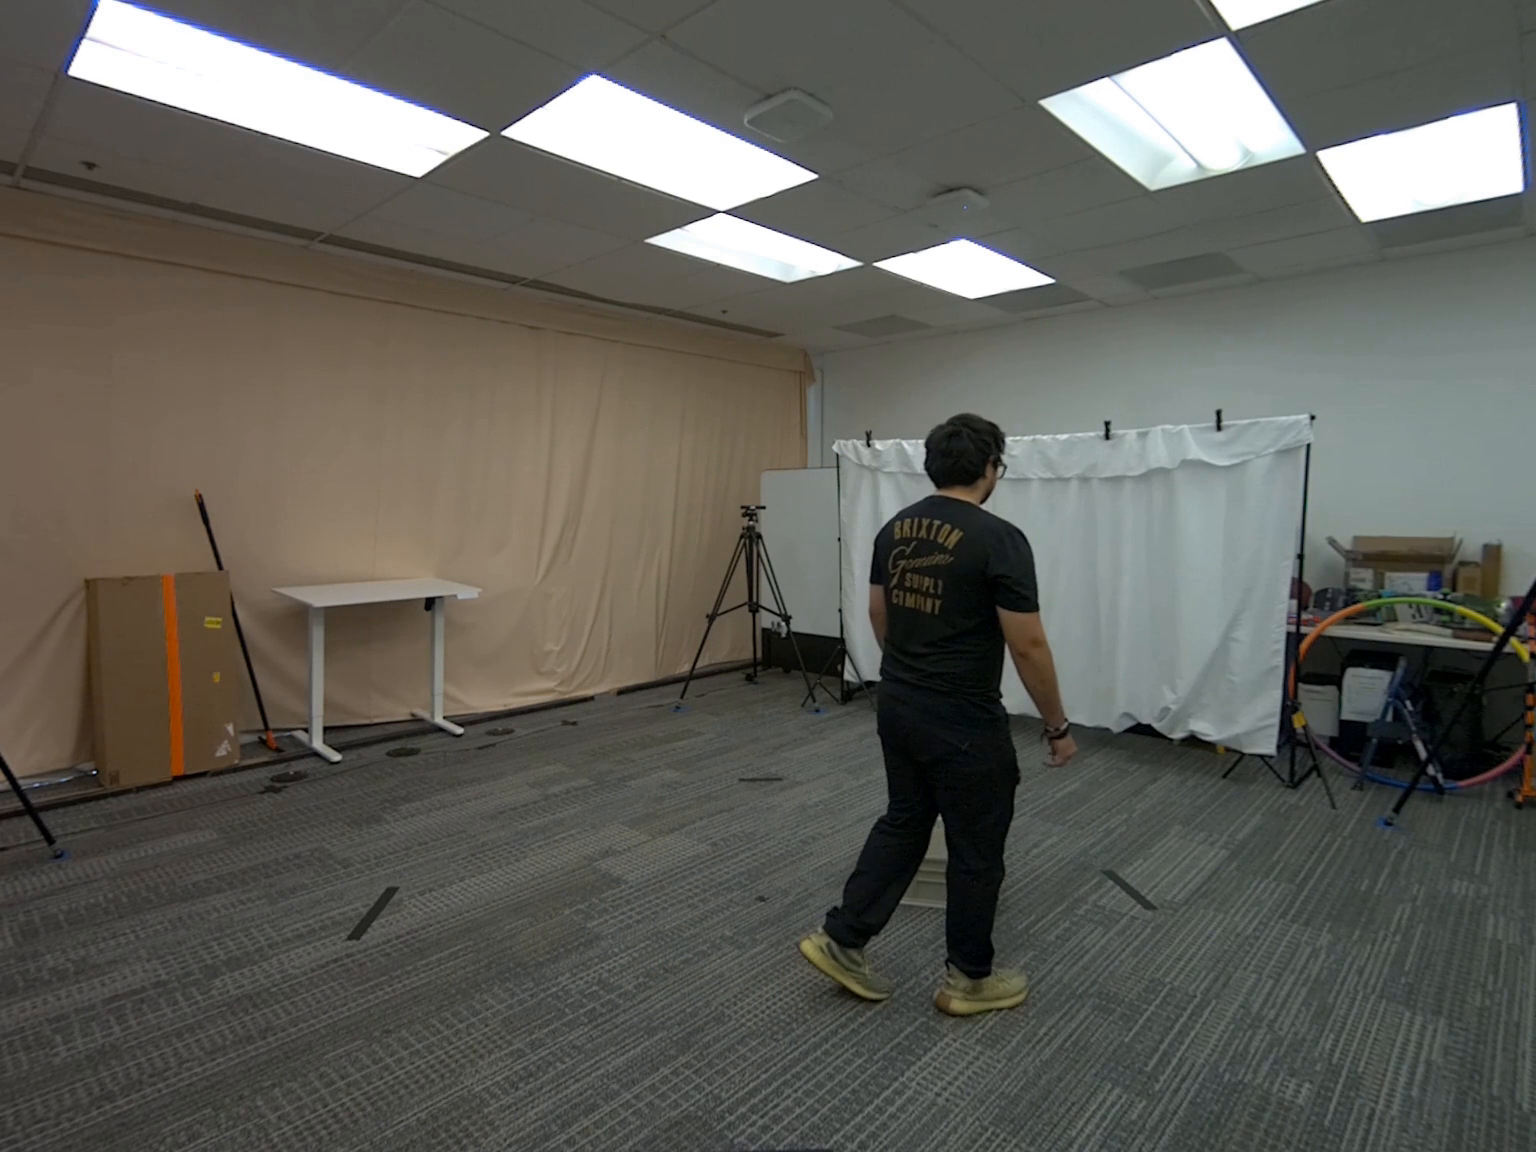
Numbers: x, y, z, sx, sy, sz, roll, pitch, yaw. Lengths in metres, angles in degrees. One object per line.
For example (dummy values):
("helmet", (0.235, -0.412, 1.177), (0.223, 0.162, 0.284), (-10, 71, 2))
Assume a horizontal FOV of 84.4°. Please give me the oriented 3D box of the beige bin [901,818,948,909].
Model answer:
("beige bin", (0.655, 1.045, 3.099), (0.383, 0.188, 0.417), (-1, 5, 12))
